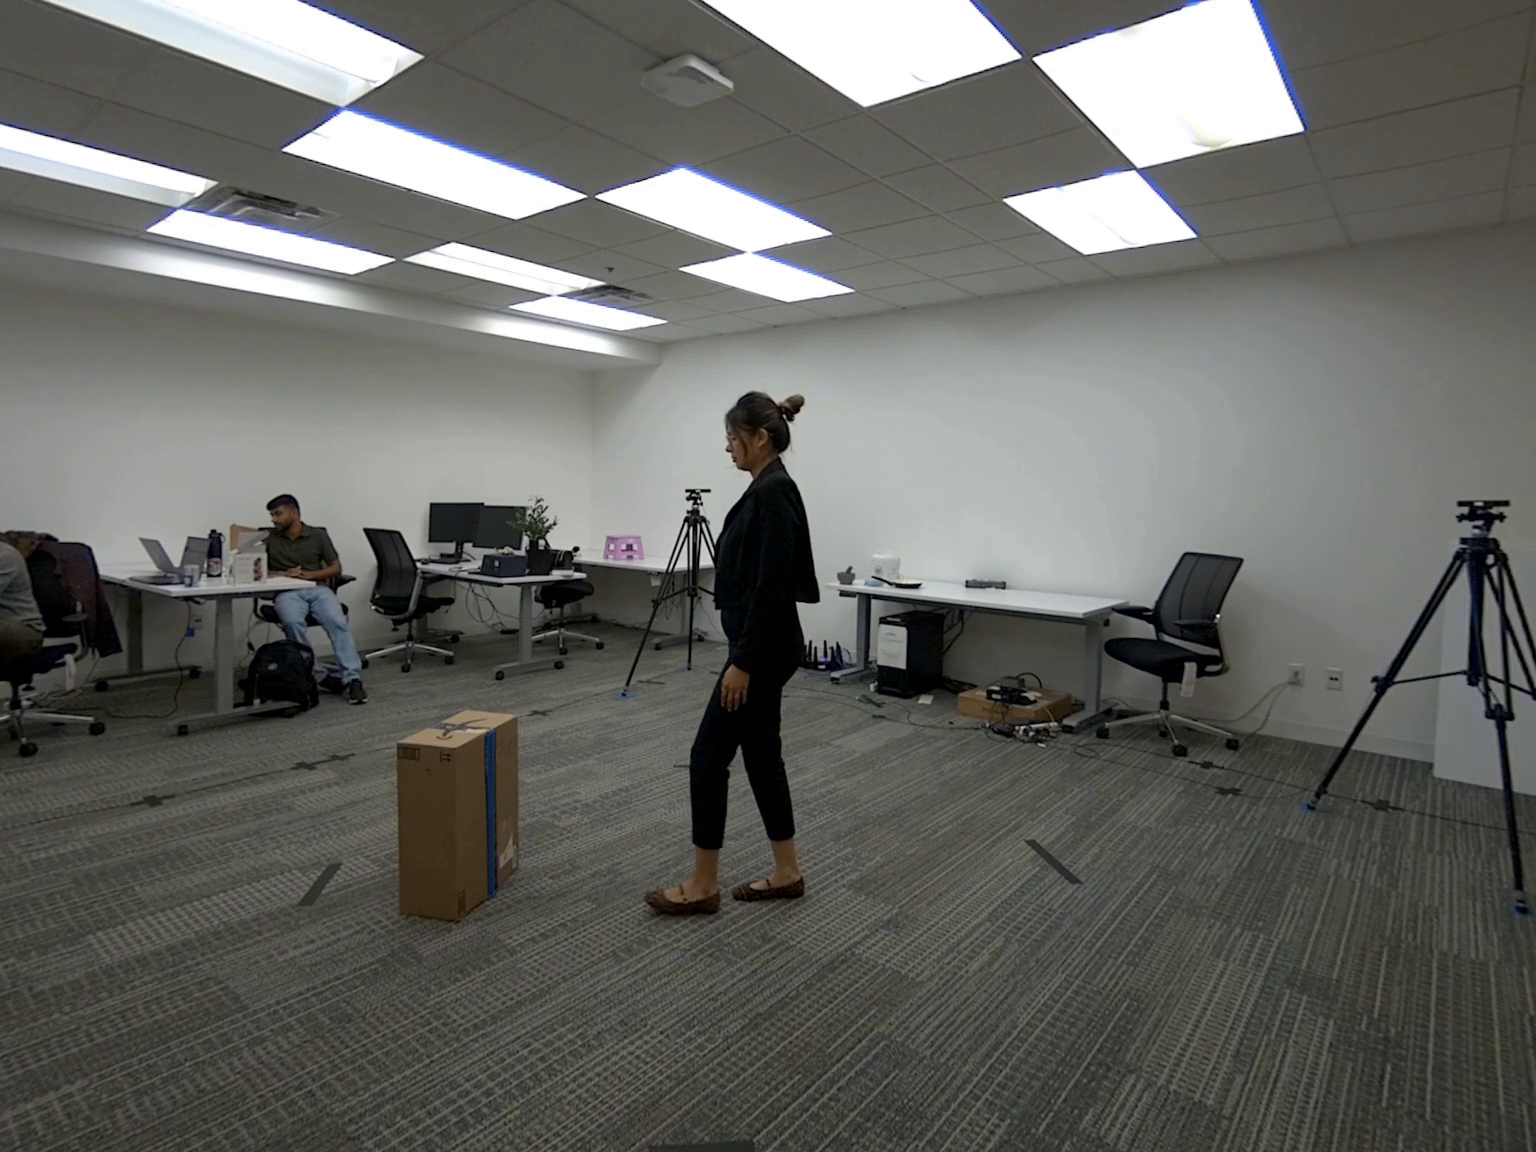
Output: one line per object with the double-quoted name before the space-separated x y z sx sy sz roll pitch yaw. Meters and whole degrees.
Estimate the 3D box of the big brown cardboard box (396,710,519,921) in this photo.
"big brown cardboard box" -1.059 0.802 2.906 0.236 0.587 0.414 0 5 11
